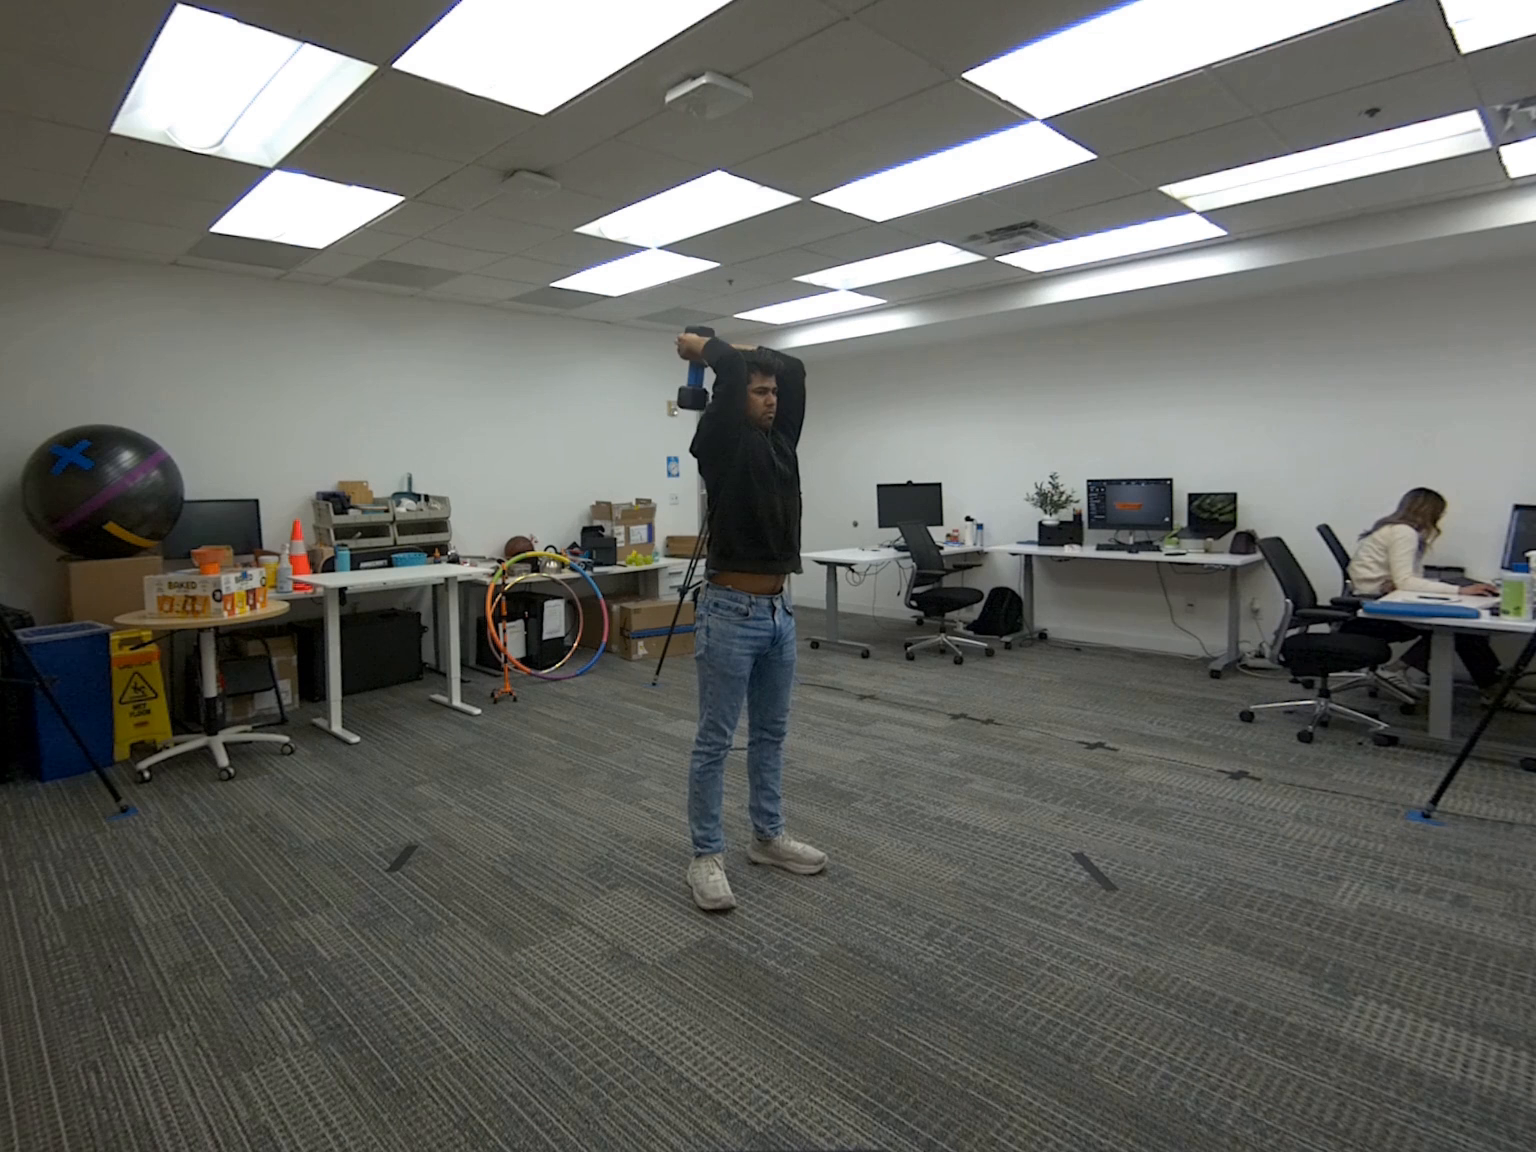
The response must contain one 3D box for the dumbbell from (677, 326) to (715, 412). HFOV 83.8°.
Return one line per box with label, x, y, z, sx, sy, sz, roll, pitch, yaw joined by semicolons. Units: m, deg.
dumbbell;-0.243;-0.743;3.047;0.120;0.293;0.112;5;3;-29
